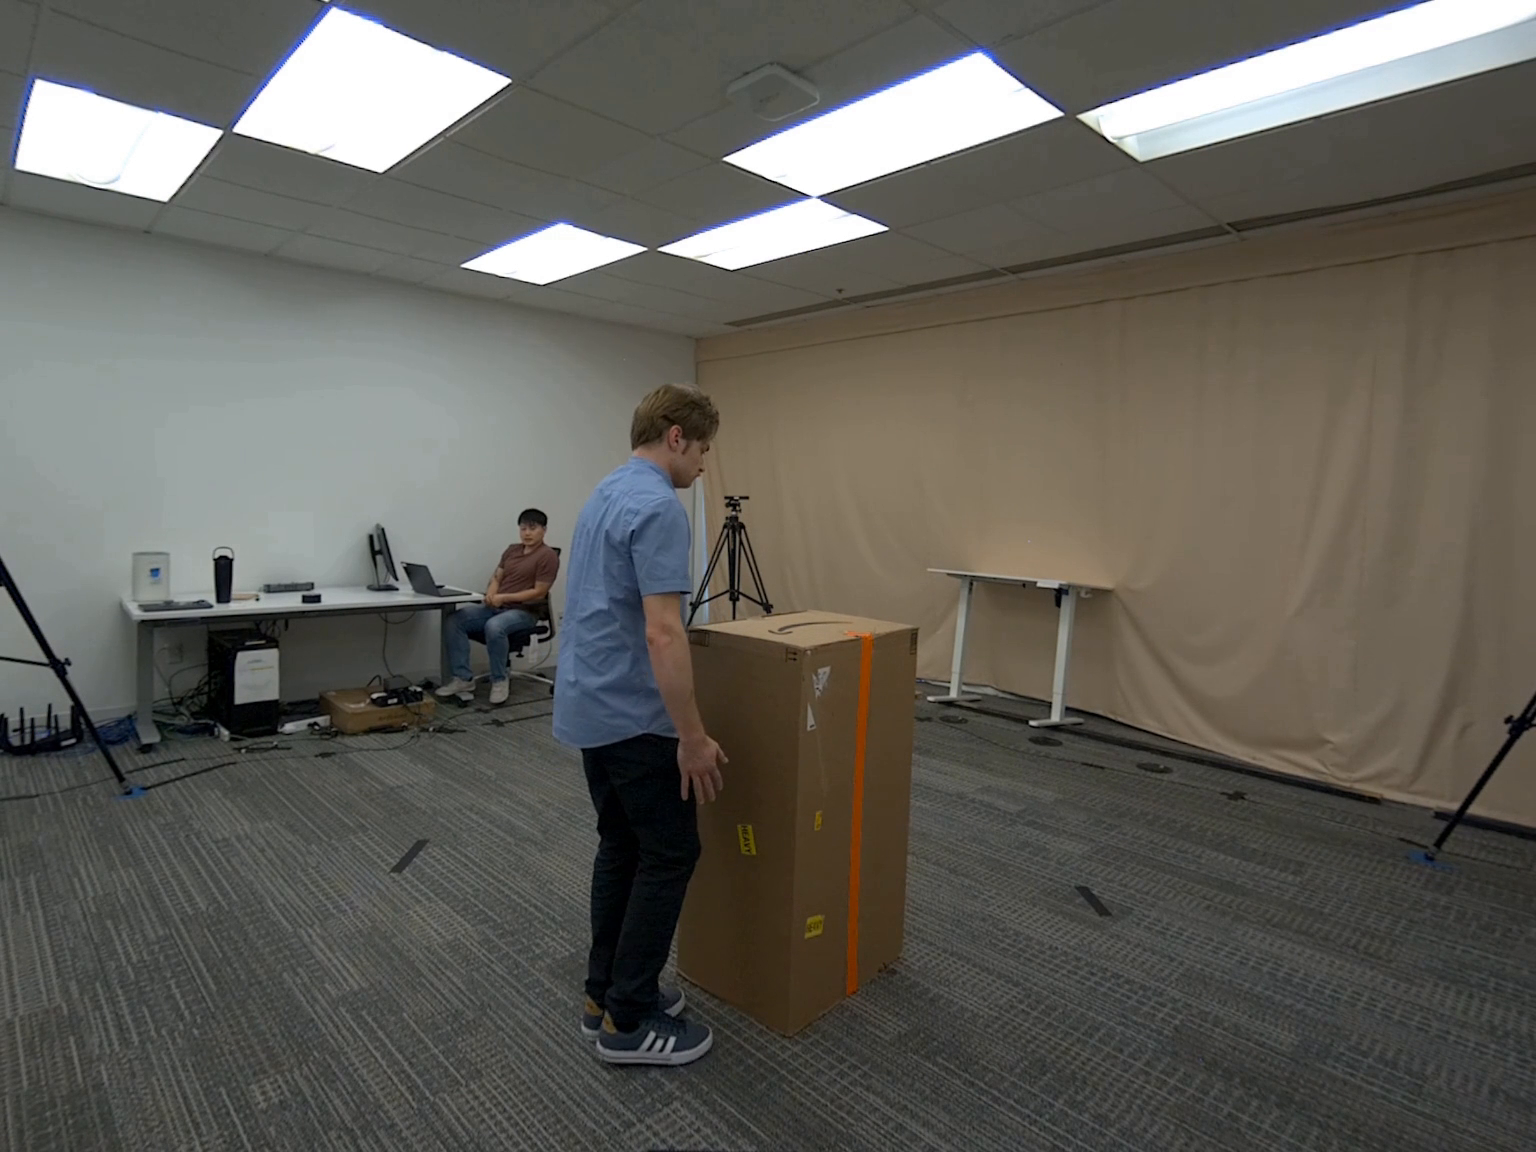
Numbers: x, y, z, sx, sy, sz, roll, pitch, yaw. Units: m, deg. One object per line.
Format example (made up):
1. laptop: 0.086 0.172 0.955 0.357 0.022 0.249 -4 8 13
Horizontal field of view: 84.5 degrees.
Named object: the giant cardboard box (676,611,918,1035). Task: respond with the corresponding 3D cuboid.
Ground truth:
1. giant cardboard box: 0.095 0.659 2.490 0.437 1.023 0.564 5 5 41
